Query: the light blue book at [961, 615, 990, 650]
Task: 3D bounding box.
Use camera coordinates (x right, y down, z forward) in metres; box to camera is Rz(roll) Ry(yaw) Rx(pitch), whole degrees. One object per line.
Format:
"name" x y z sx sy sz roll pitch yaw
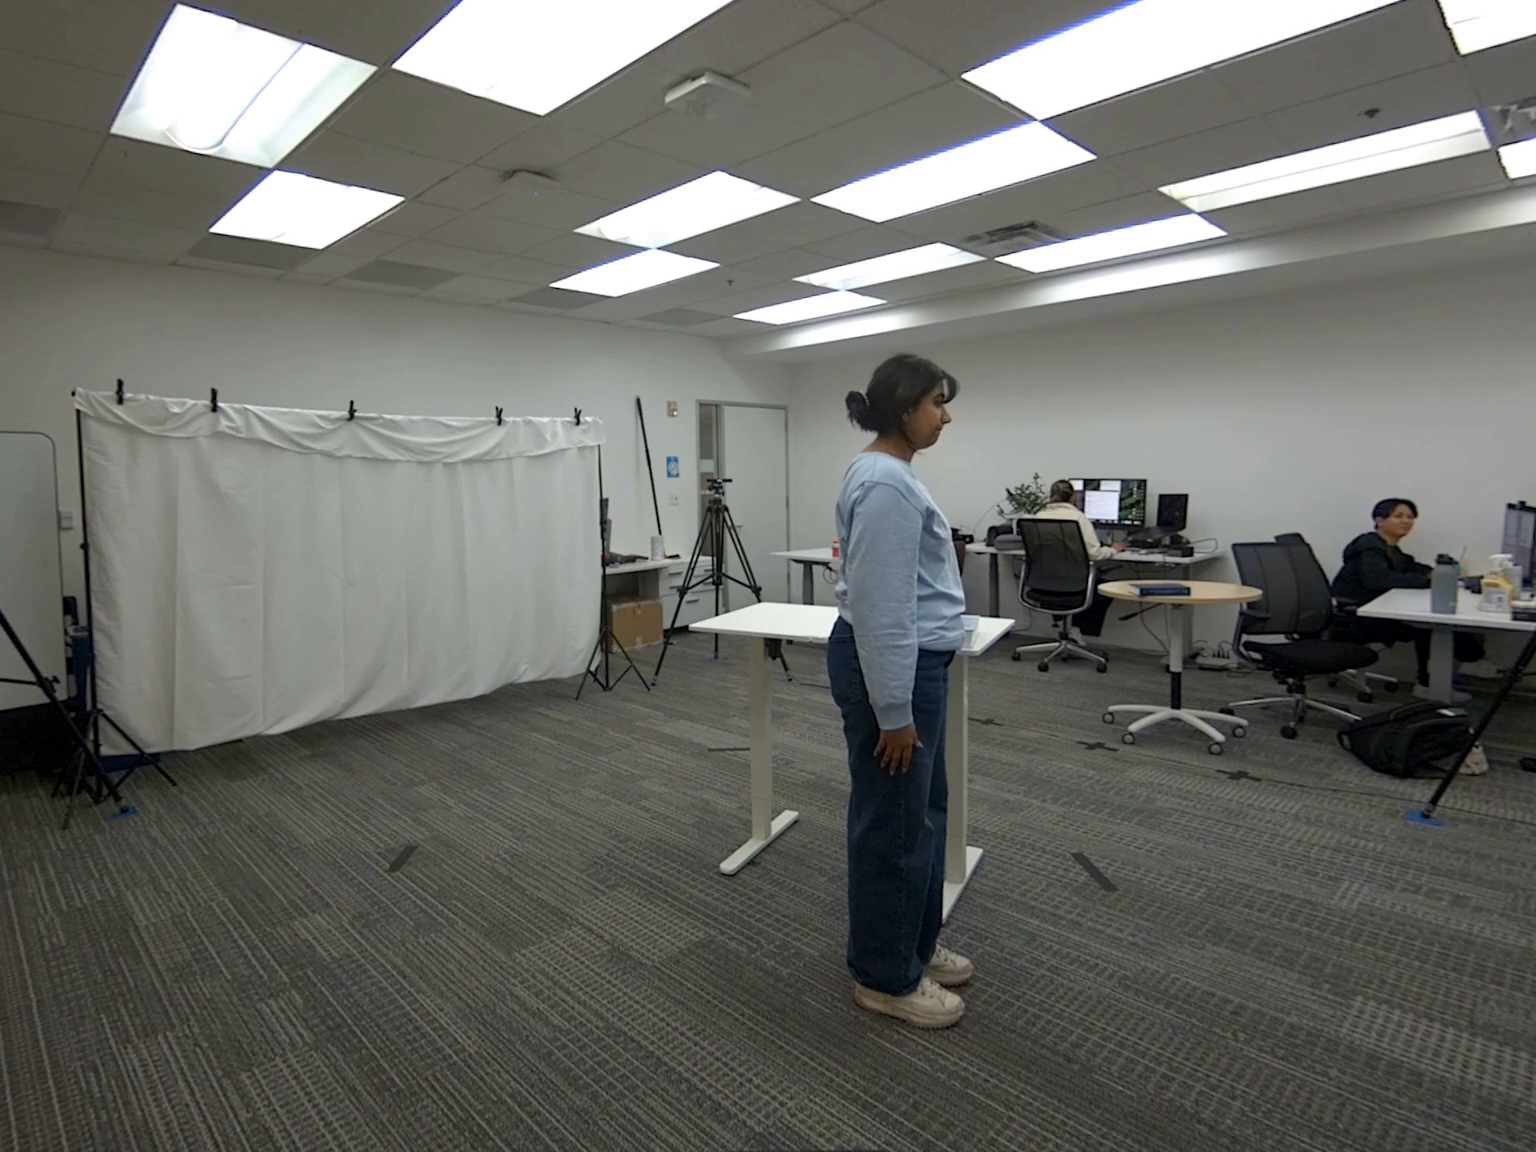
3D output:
"light blue book" 0.589 0.172 2.705 0.195 0.059 0.257 1 7 19
